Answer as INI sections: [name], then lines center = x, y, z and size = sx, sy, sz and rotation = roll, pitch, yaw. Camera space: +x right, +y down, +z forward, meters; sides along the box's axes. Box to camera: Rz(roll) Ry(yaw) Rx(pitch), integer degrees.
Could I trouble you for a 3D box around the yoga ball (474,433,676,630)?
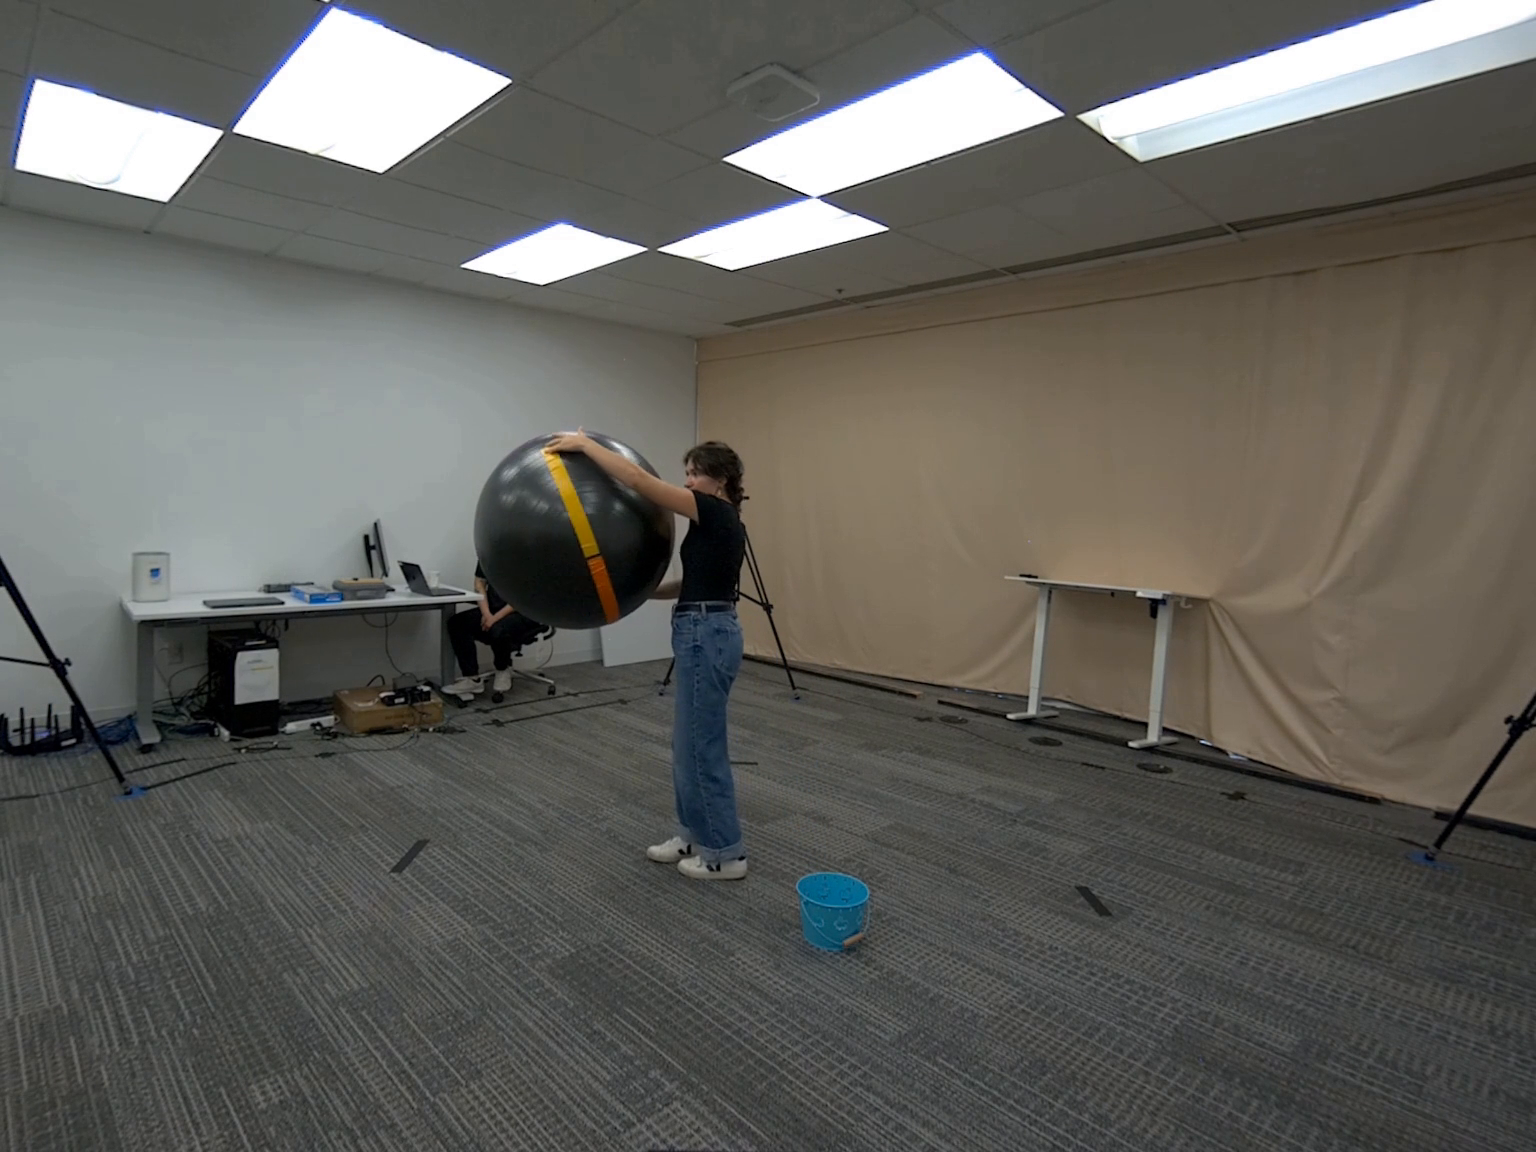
[yoga ball]
center = -0.743, -0.172, 3.236
size = 0.757, 0.756, 0.761
rotation = 1, 4, -1
